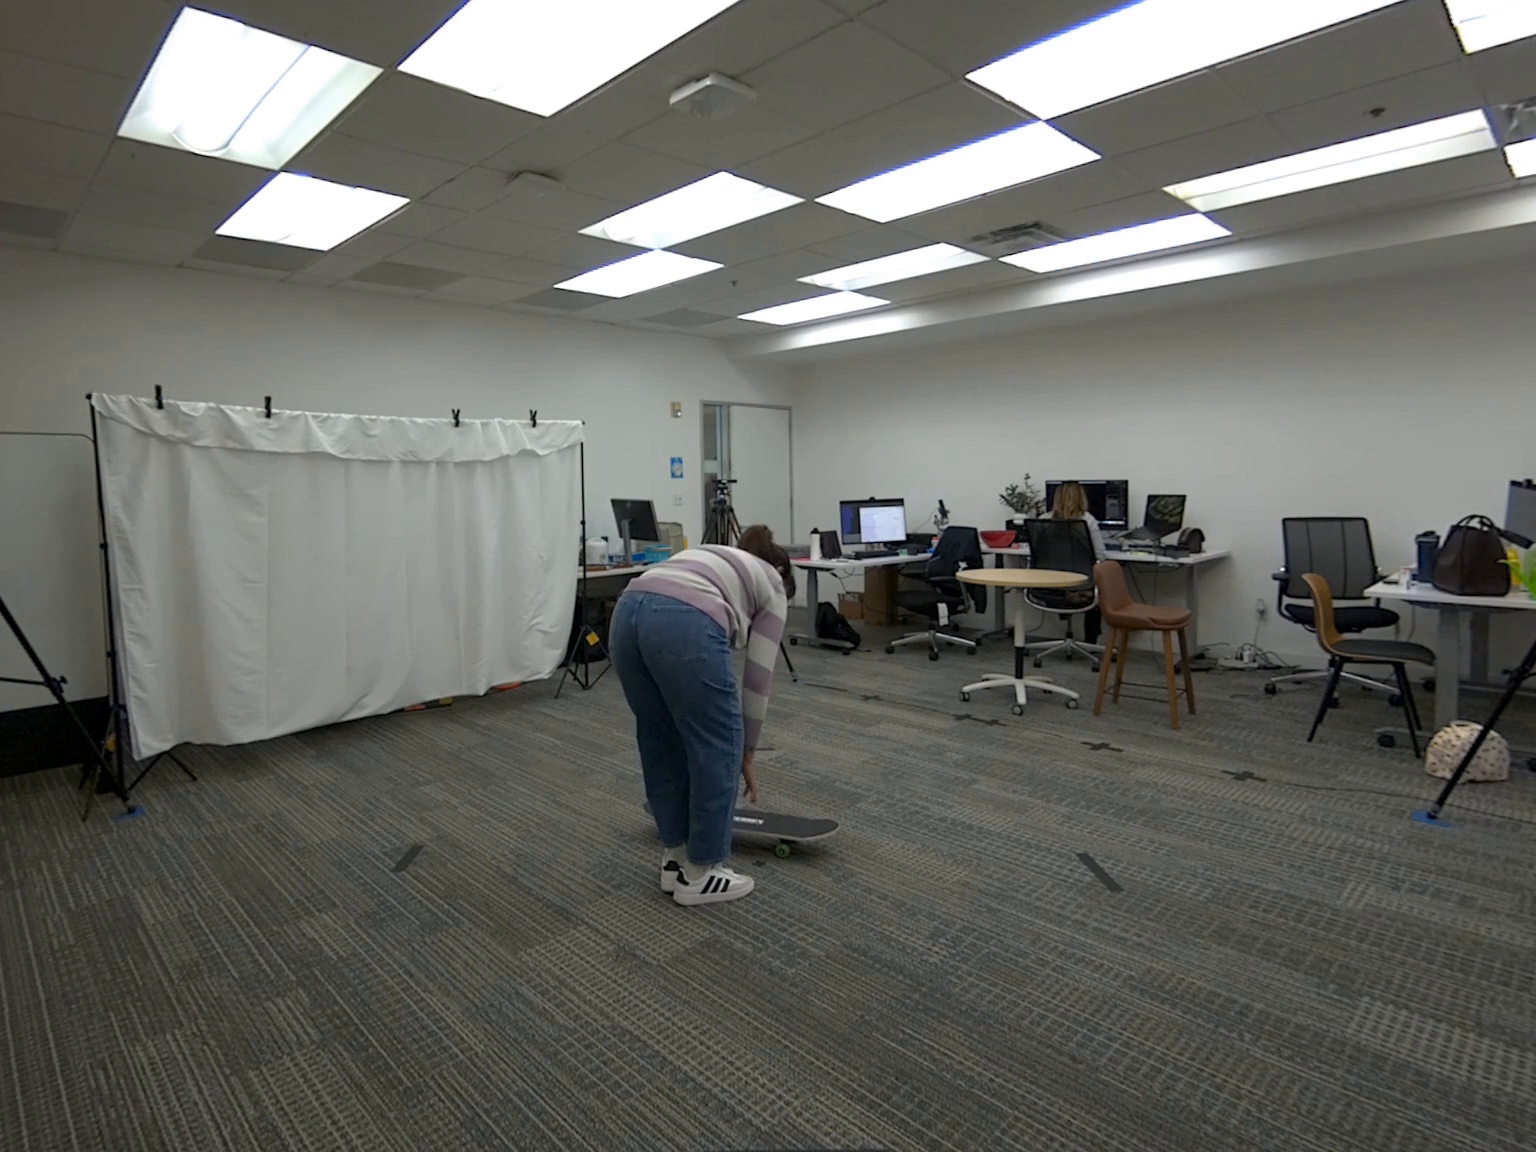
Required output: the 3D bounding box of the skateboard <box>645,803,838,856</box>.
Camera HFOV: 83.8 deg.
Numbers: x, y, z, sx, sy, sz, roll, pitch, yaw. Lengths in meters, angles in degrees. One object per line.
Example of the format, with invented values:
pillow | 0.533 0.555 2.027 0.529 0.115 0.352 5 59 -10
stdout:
skateboard | -0.110 0.969 3.298 0.800 0.110 0.191 1 6 19
